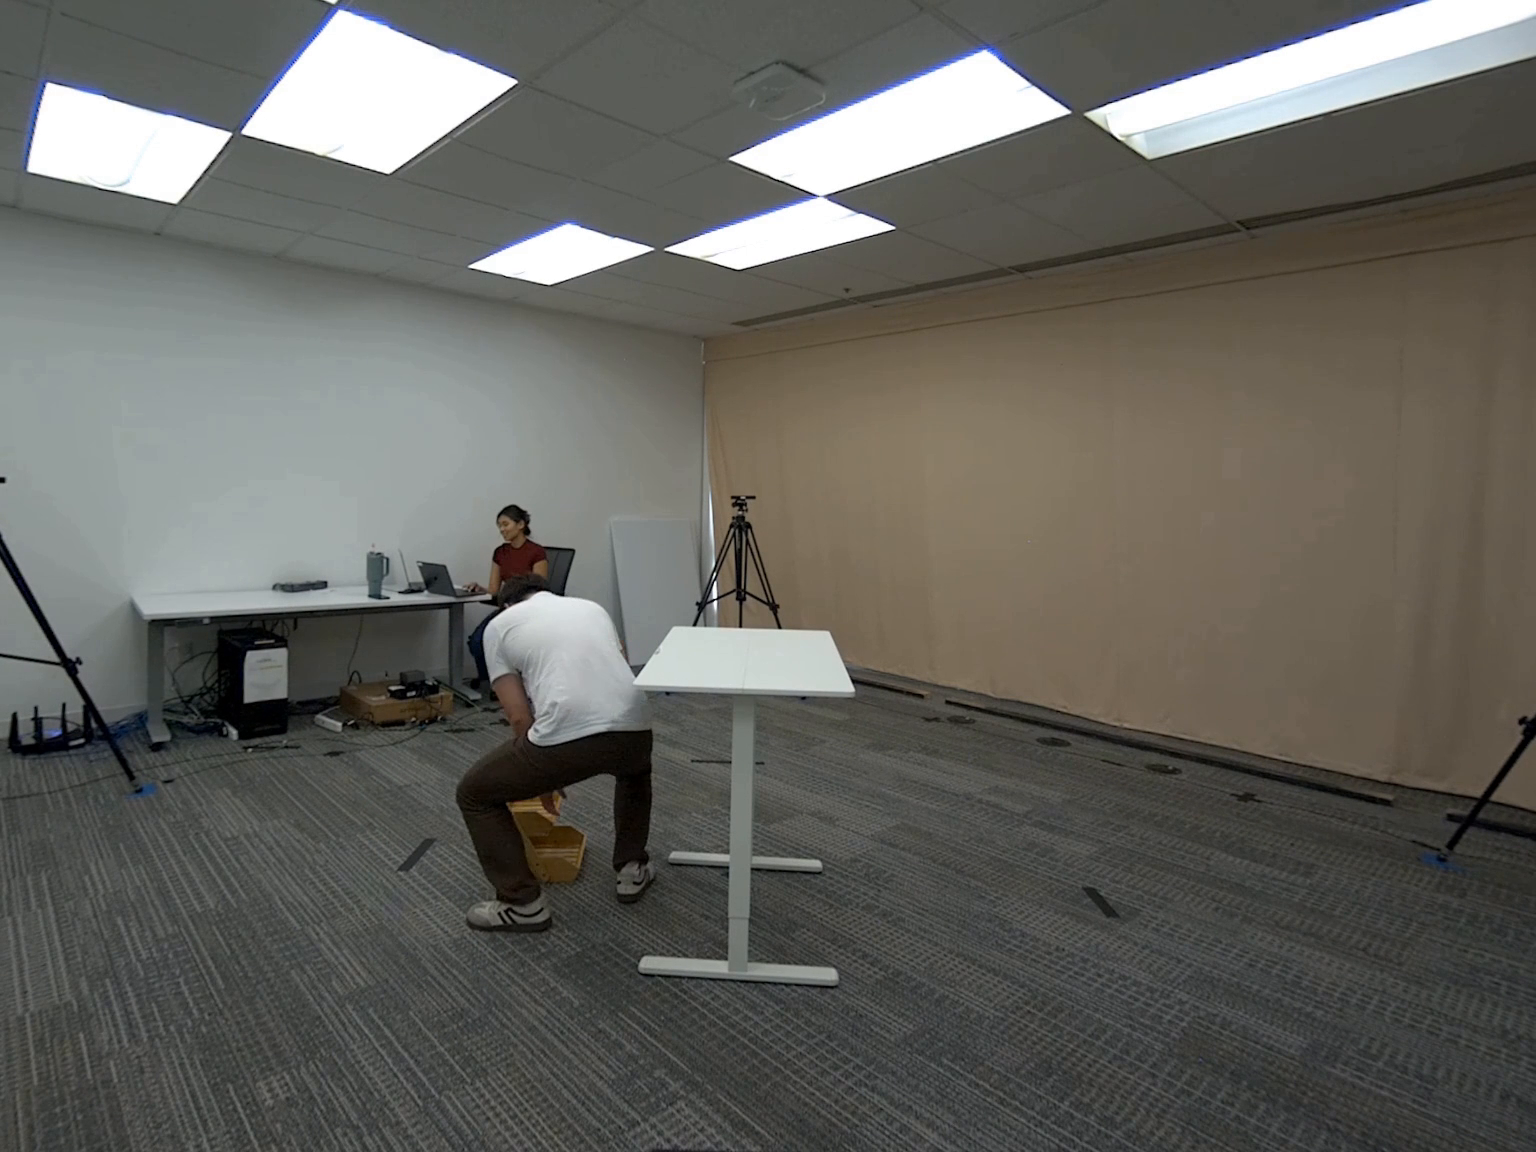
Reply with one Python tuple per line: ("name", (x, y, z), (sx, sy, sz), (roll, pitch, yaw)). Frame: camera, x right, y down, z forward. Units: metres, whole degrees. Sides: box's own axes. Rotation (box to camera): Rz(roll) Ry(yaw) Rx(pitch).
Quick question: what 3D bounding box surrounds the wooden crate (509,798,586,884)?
("wooden crate", (-0.848, 0.955, 3.149), (0.301, 0.273, 0.326), (-3, 3, -6))
